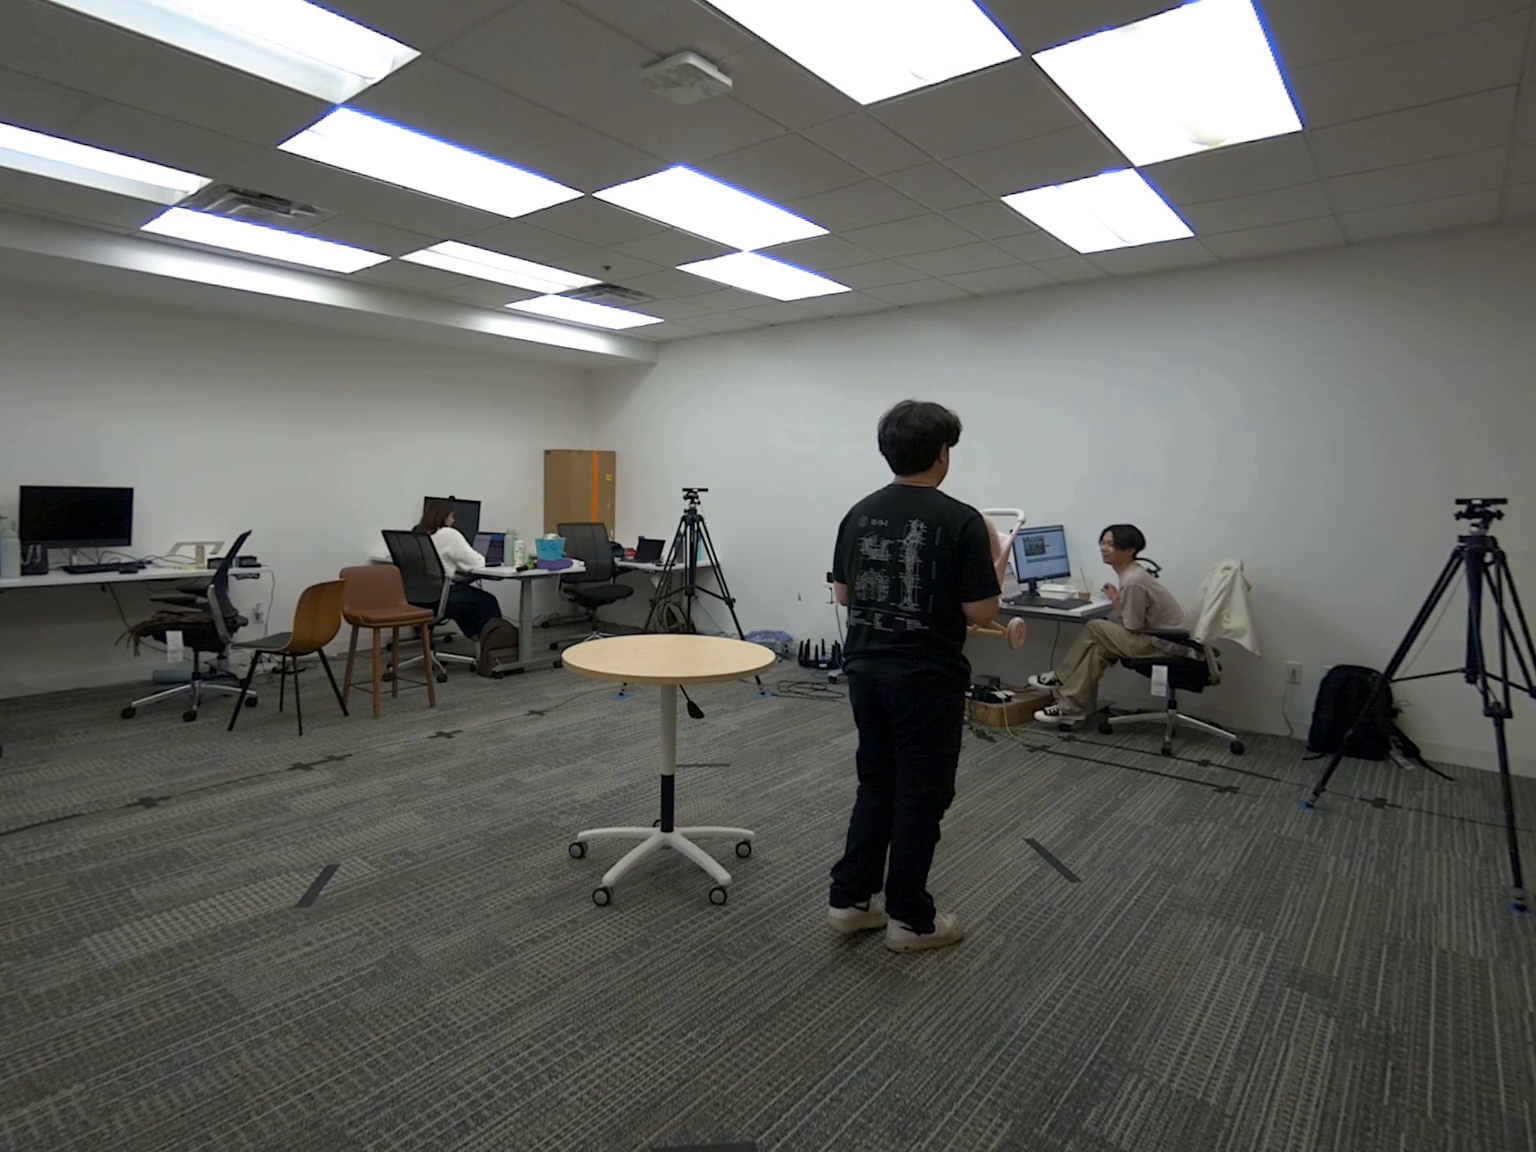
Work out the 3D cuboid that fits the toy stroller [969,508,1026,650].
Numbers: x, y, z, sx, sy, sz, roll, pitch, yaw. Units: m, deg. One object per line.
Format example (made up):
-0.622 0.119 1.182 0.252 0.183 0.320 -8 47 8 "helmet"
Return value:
0.655 0.017 2.848 0.329 0.535 0.291 8 -1 -41 "toy stroller"
